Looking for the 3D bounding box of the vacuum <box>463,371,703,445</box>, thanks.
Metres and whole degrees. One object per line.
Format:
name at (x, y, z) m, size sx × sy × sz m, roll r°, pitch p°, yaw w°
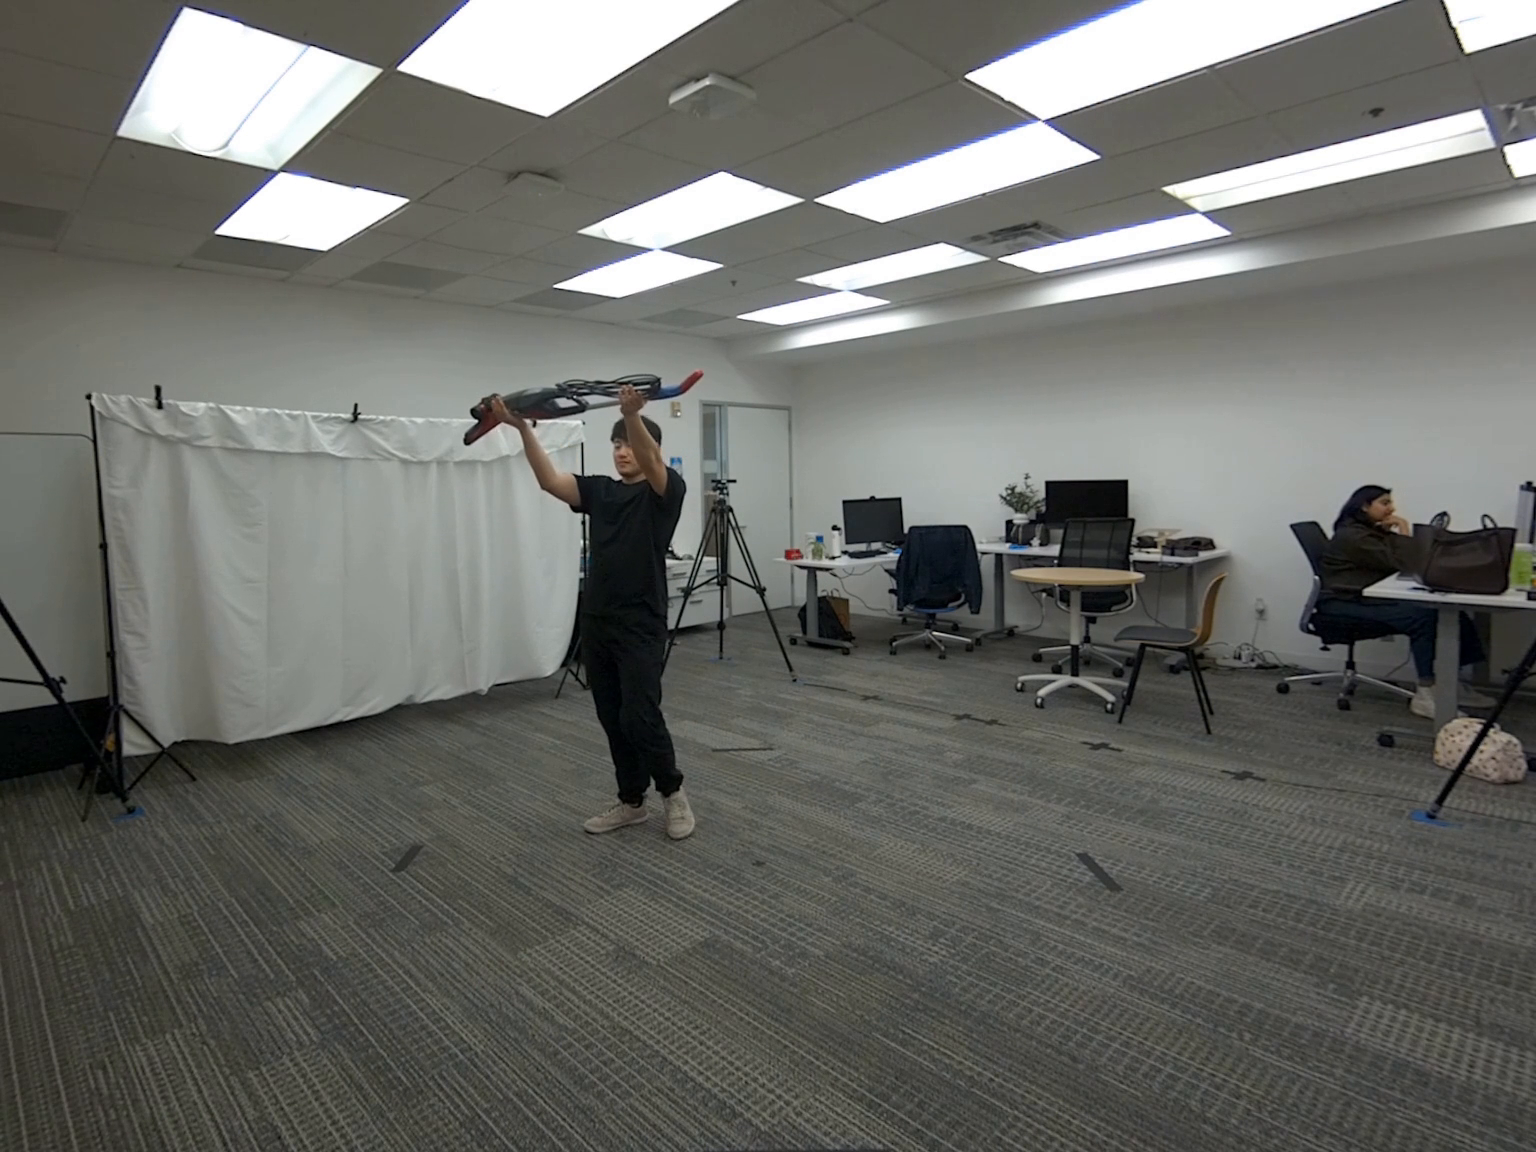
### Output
vacuum at (-0.659, -0.635, 3.022) m, size 1.076 × 0.140 × 0.252 m, roll -3°, pitch 29°, yaw 35°
